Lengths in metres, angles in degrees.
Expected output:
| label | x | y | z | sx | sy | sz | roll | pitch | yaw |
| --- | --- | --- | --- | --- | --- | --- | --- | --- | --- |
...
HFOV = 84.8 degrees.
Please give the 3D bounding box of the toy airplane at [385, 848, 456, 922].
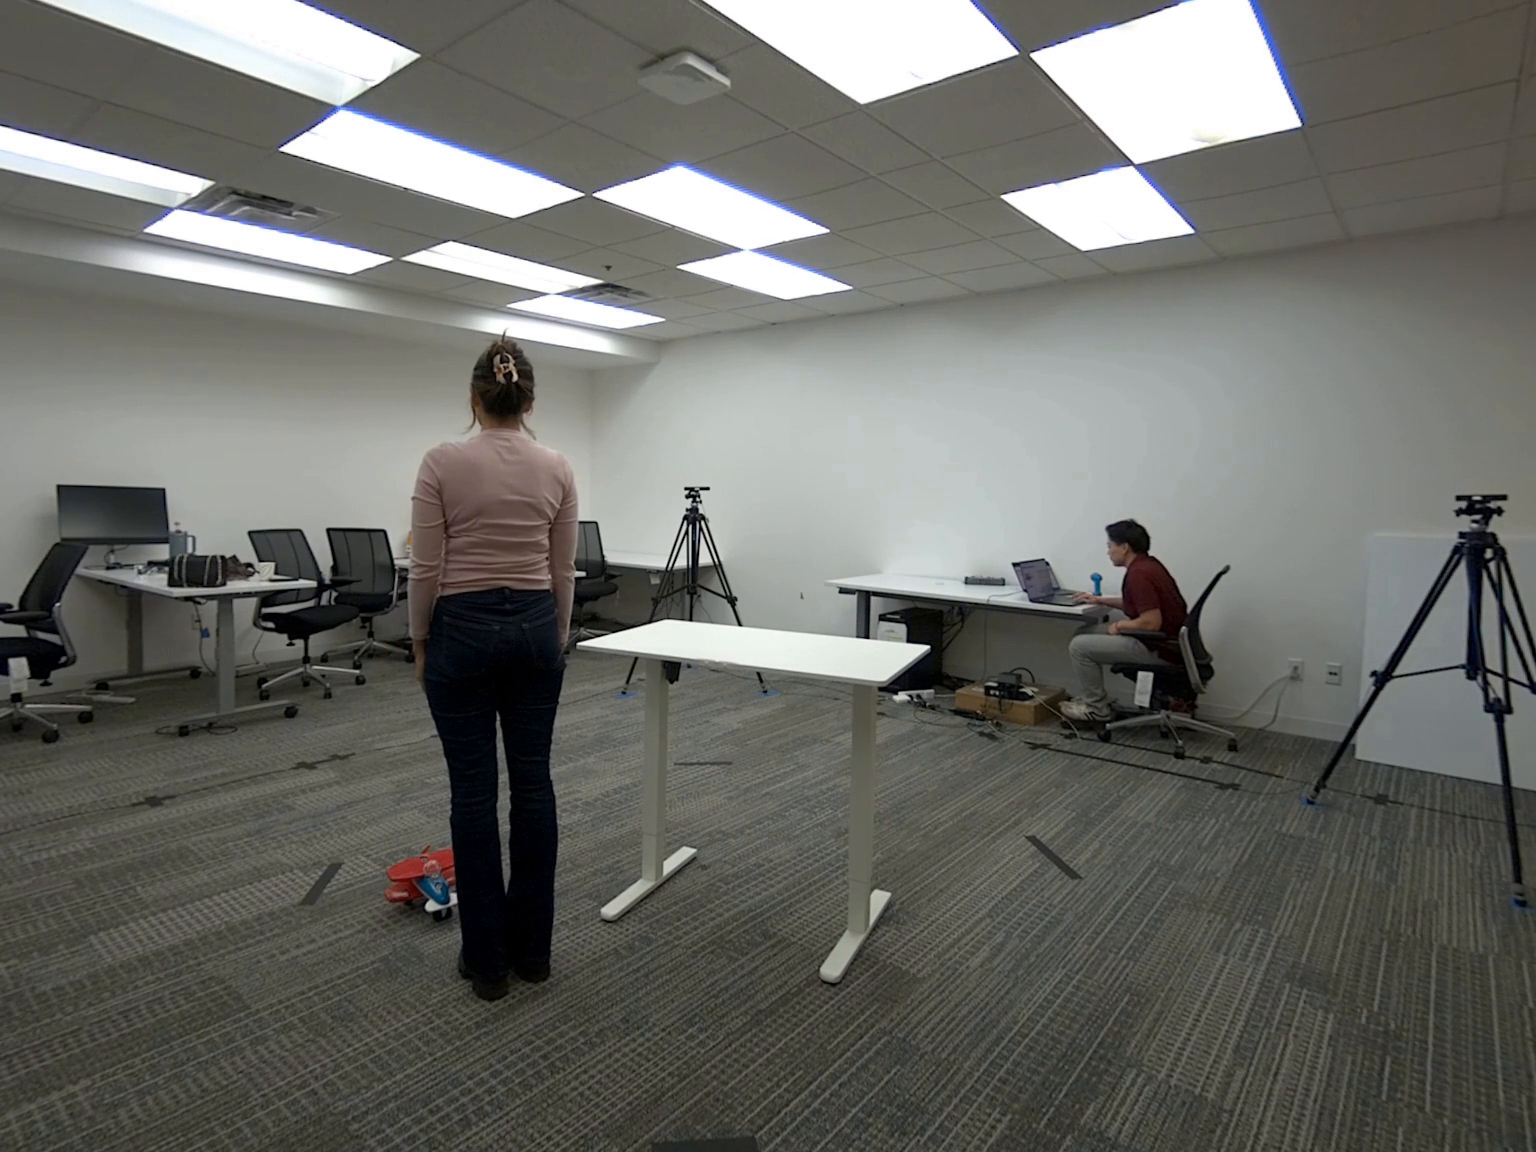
| label | x | y | z | sx | sy | sz | roll | pitch | yaw |
| --- | --- | --- | --- | --- | --- | --- | --- | --- | --- |
| toy airplane | -1.115 | 1.015 | 2.809 | 0.264 | 0.156 | 0.247 | 2 | 5 | 18 |
